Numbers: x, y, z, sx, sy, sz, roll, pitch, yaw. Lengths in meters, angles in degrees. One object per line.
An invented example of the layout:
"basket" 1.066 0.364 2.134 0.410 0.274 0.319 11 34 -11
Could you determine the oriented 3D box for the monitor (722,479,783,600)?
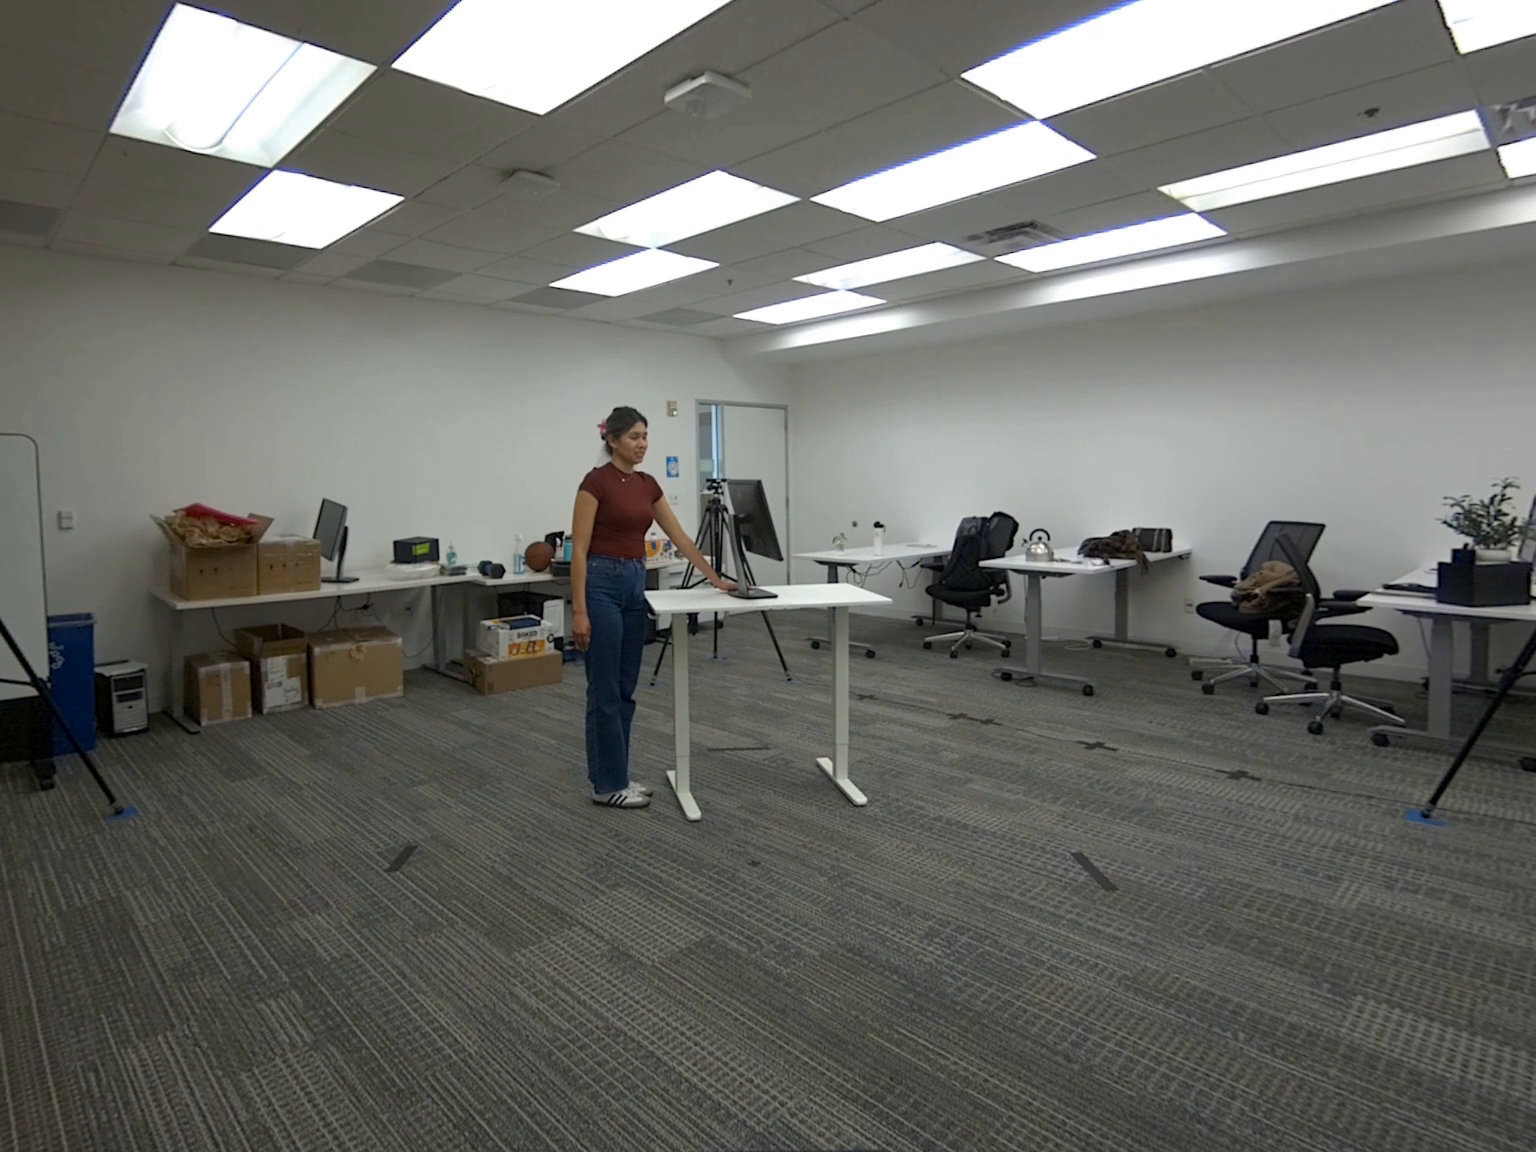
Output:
"monitor" -0.098 -0.170 3.786 0.184 0.520 0.550 -4 7 -18
